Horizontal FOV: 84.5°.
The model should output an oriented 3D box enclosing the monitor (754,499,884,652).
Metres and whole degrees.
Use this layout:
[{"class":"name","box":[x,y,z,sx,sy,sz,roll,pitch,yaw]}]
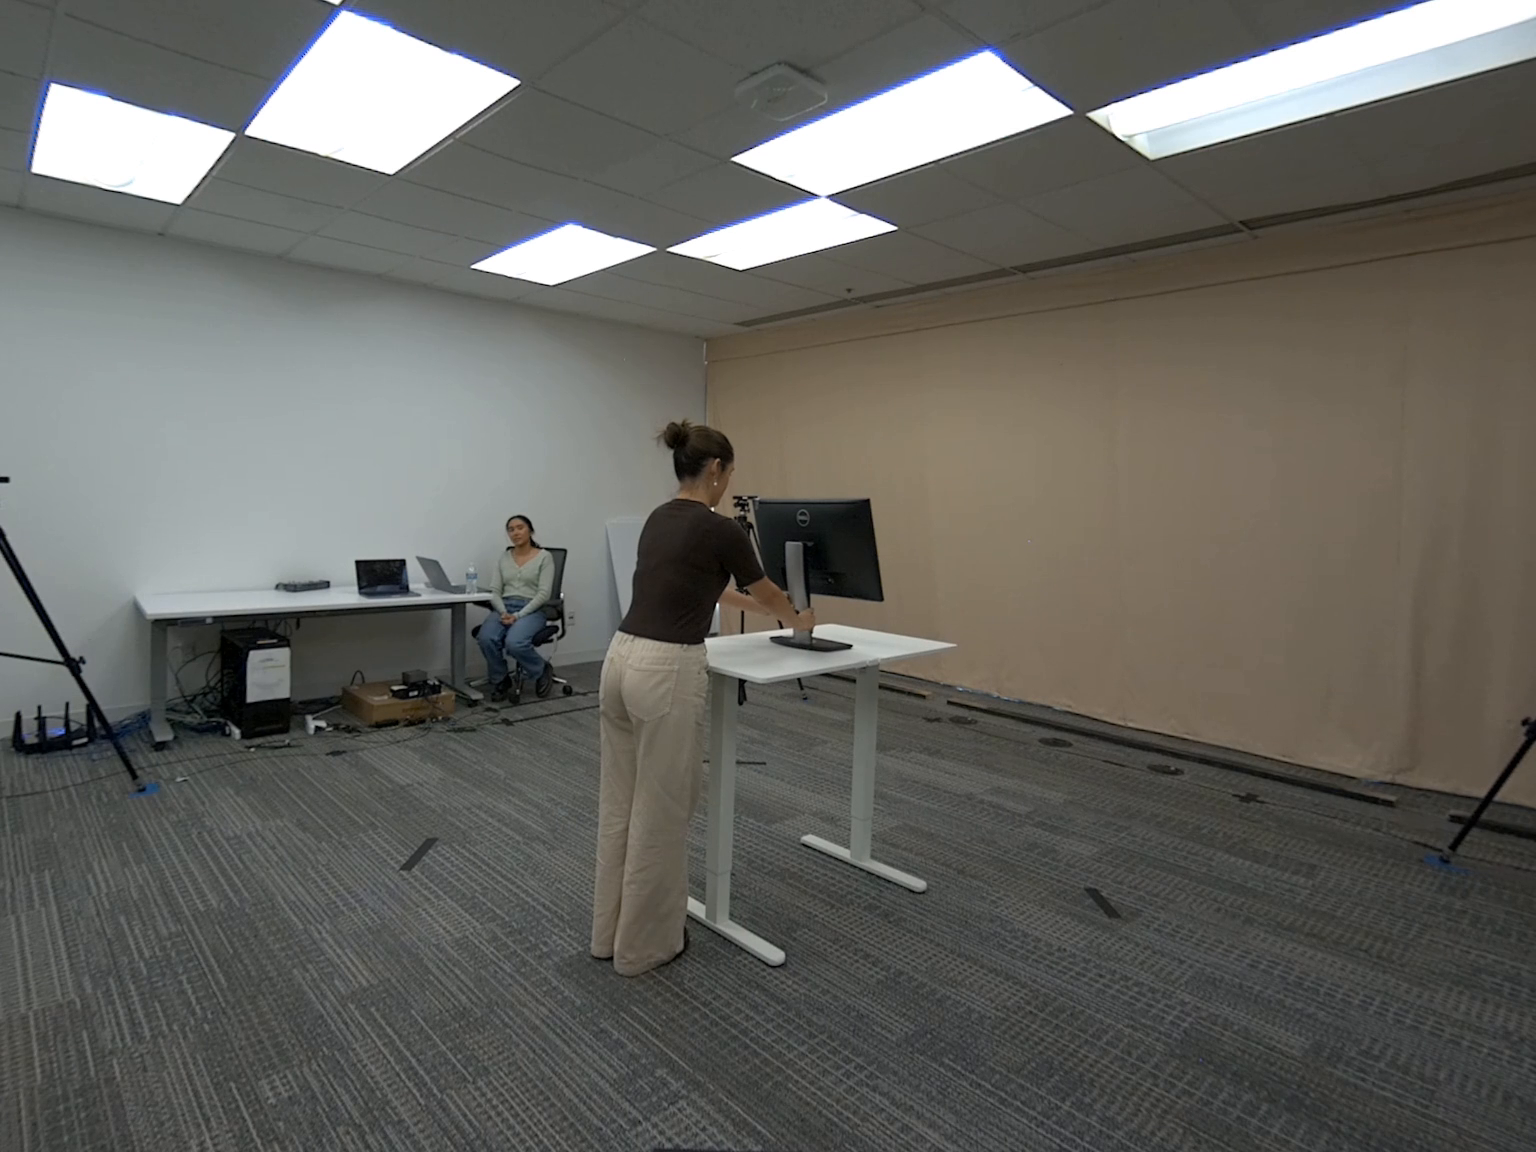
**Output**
[{"class":"monitor","box":[0.135,-0.012,2.929,0.543,0.516,0.170,4,0,45]}]
